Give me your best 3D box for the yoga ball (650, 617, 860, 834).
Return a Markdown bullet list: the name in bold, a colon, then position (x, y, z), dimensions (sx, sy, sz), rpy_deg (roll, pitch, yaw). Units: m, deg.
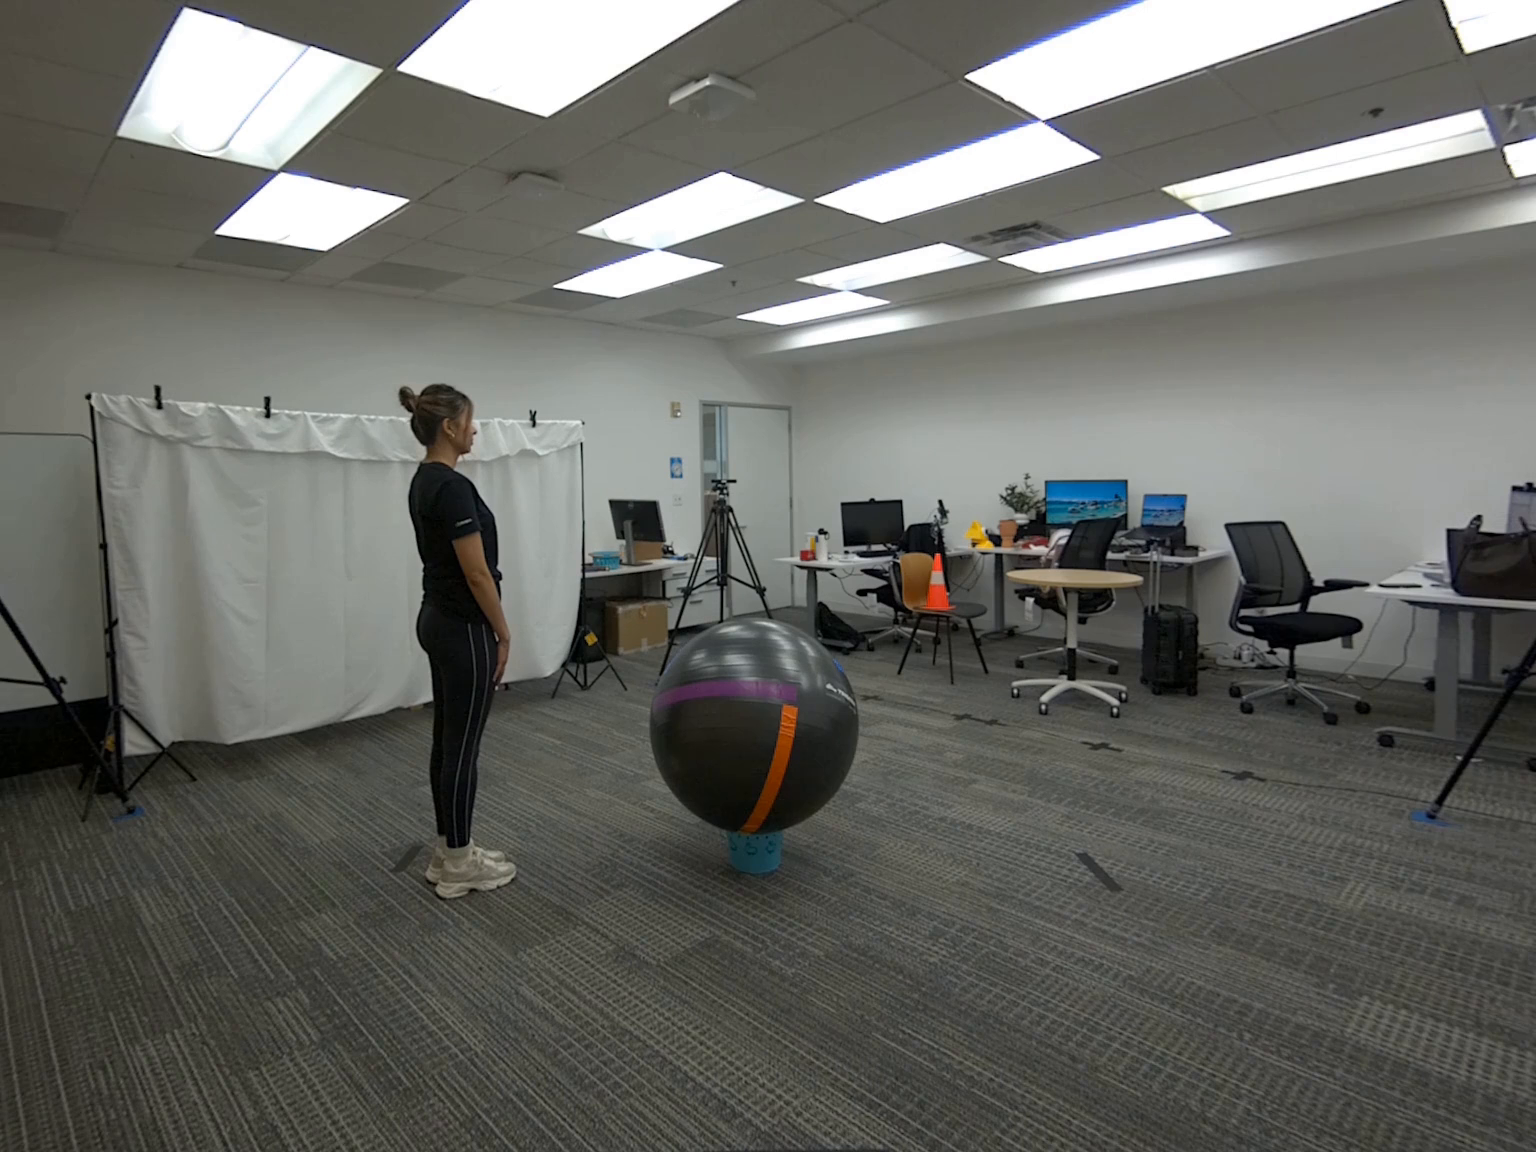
- **yoga ball**: position (-0.047, 0.537, 3.103), dimensions (0.757, 0.755, 0.762), rpy_deg (-1, 5, -2)
